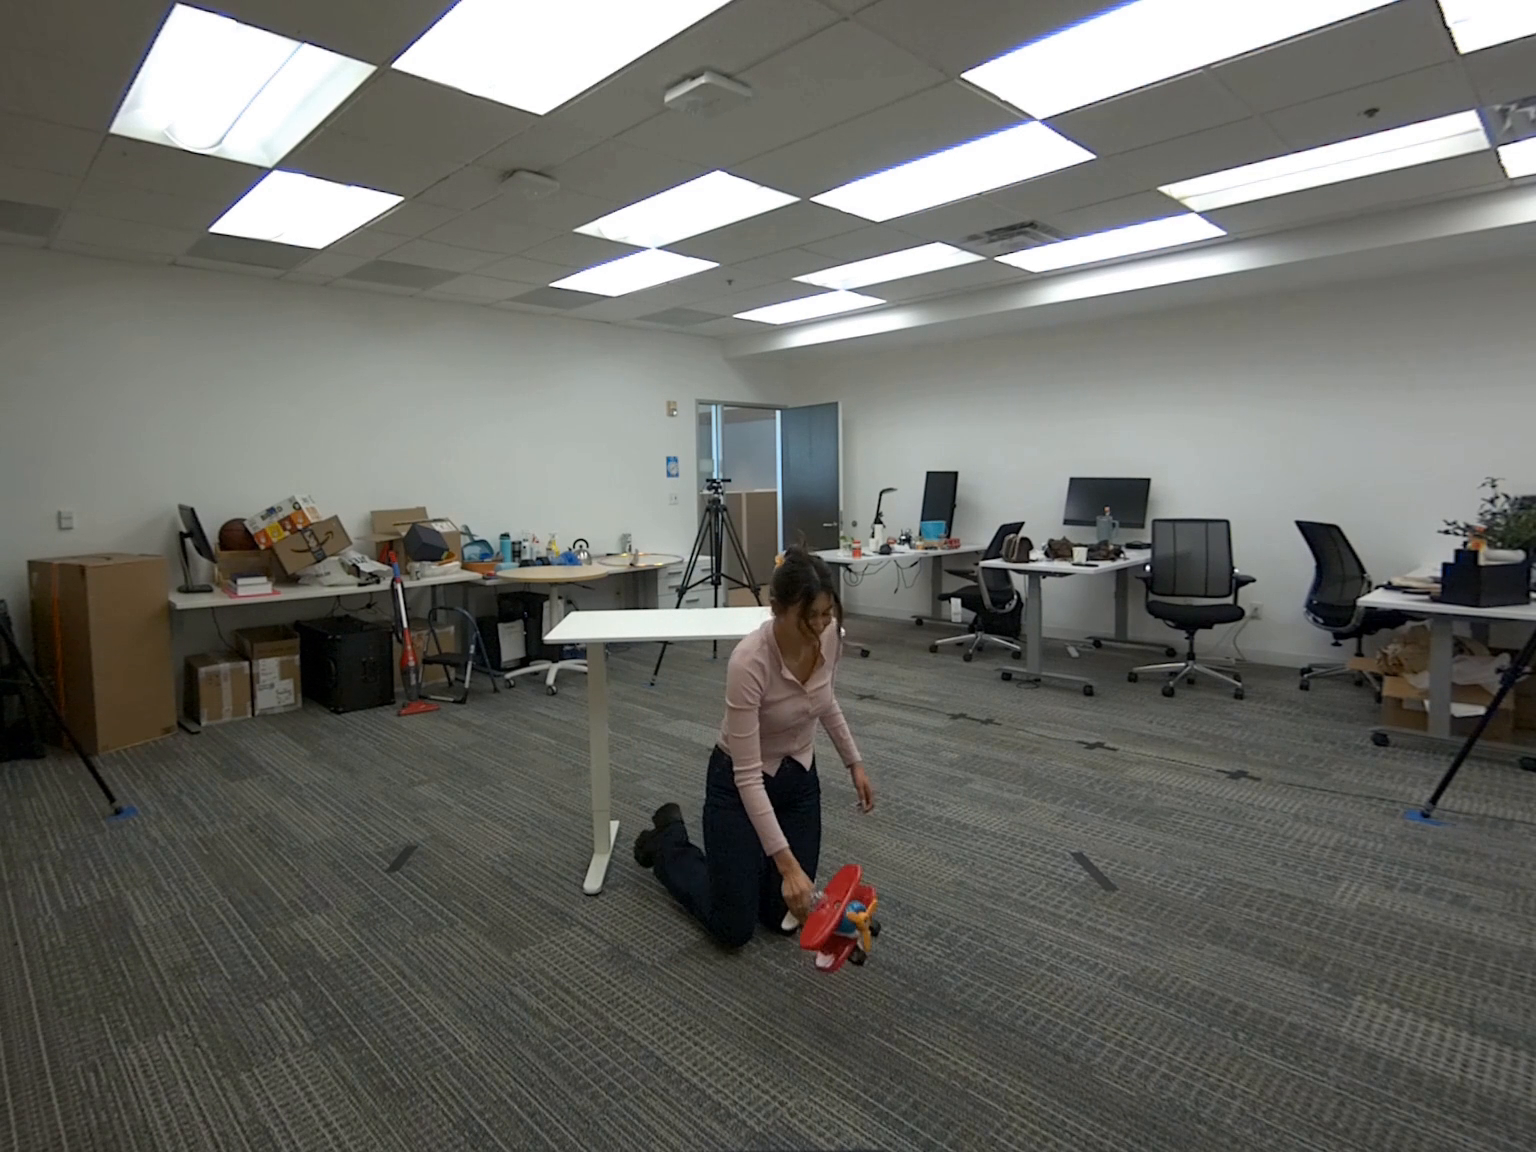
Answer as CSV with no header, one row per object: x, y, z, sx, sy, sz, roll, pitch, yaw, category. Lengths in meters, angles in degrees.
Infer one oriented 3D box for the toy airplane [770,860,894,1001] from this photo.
0.163,0.889,2.161,0.262,0.152,0.255,-14,28,14,toy airplane
